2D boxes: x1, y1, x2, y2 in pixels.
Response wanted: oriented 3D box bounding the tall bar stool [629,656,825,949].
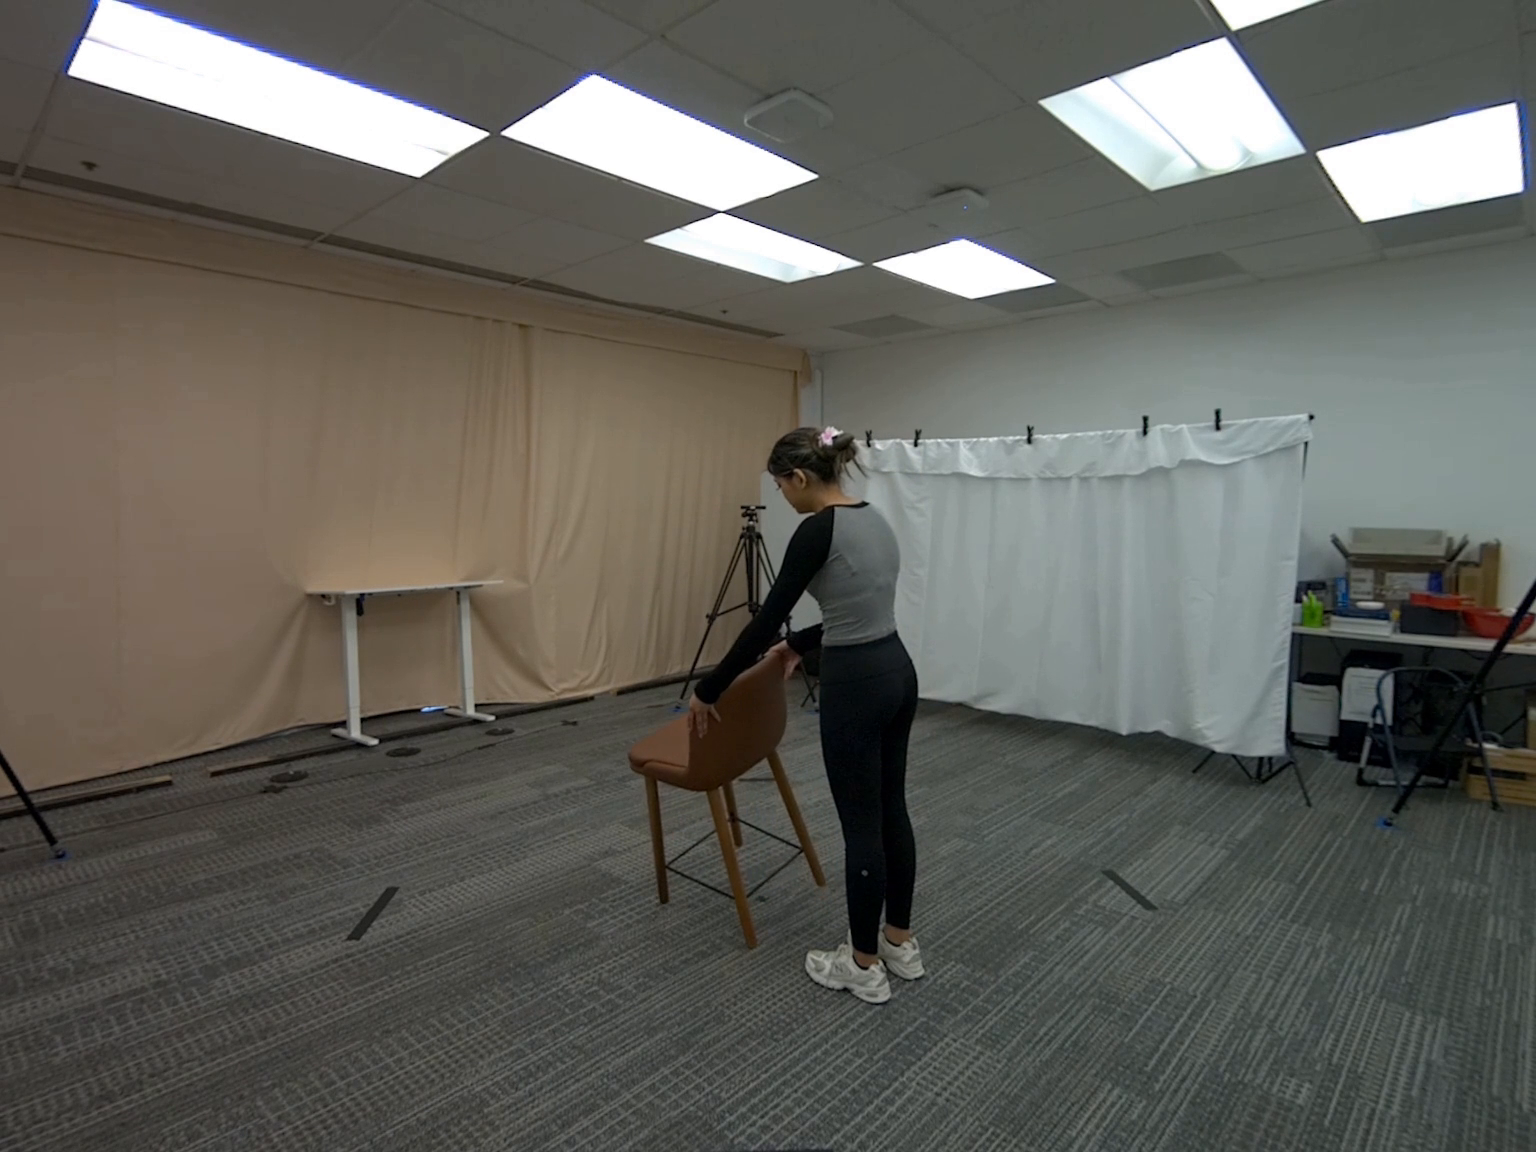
[{"bbox_3d":[-0.159,0.688,2.816,0.484,0.879,0.446,8,22,45],"label":"tall bar stool"}]
